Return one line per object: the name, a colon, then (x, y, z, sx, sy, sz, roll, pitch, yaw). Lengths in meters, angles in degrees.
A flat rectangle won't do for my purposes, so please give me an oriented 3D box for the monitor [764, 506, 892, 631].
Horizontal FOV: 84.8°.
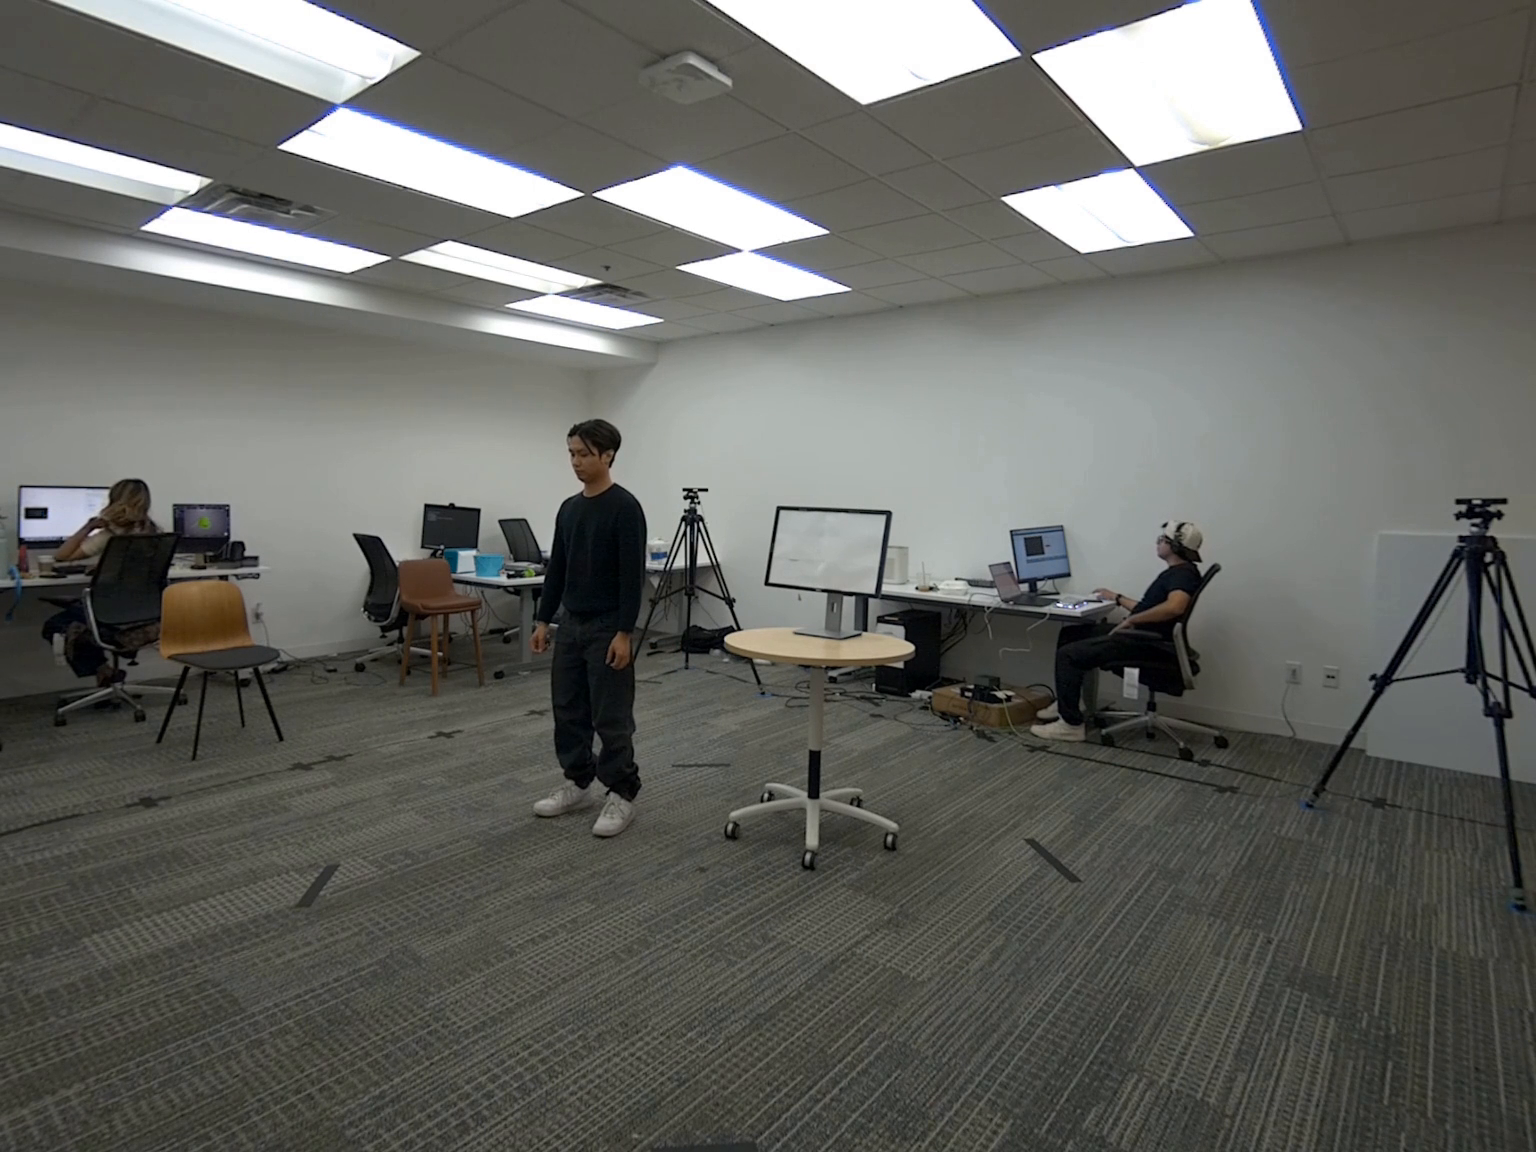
monitor: (0.259, -0.020, 3.653, 0.556, 0.521, 0.181, 4, 4, 36)
